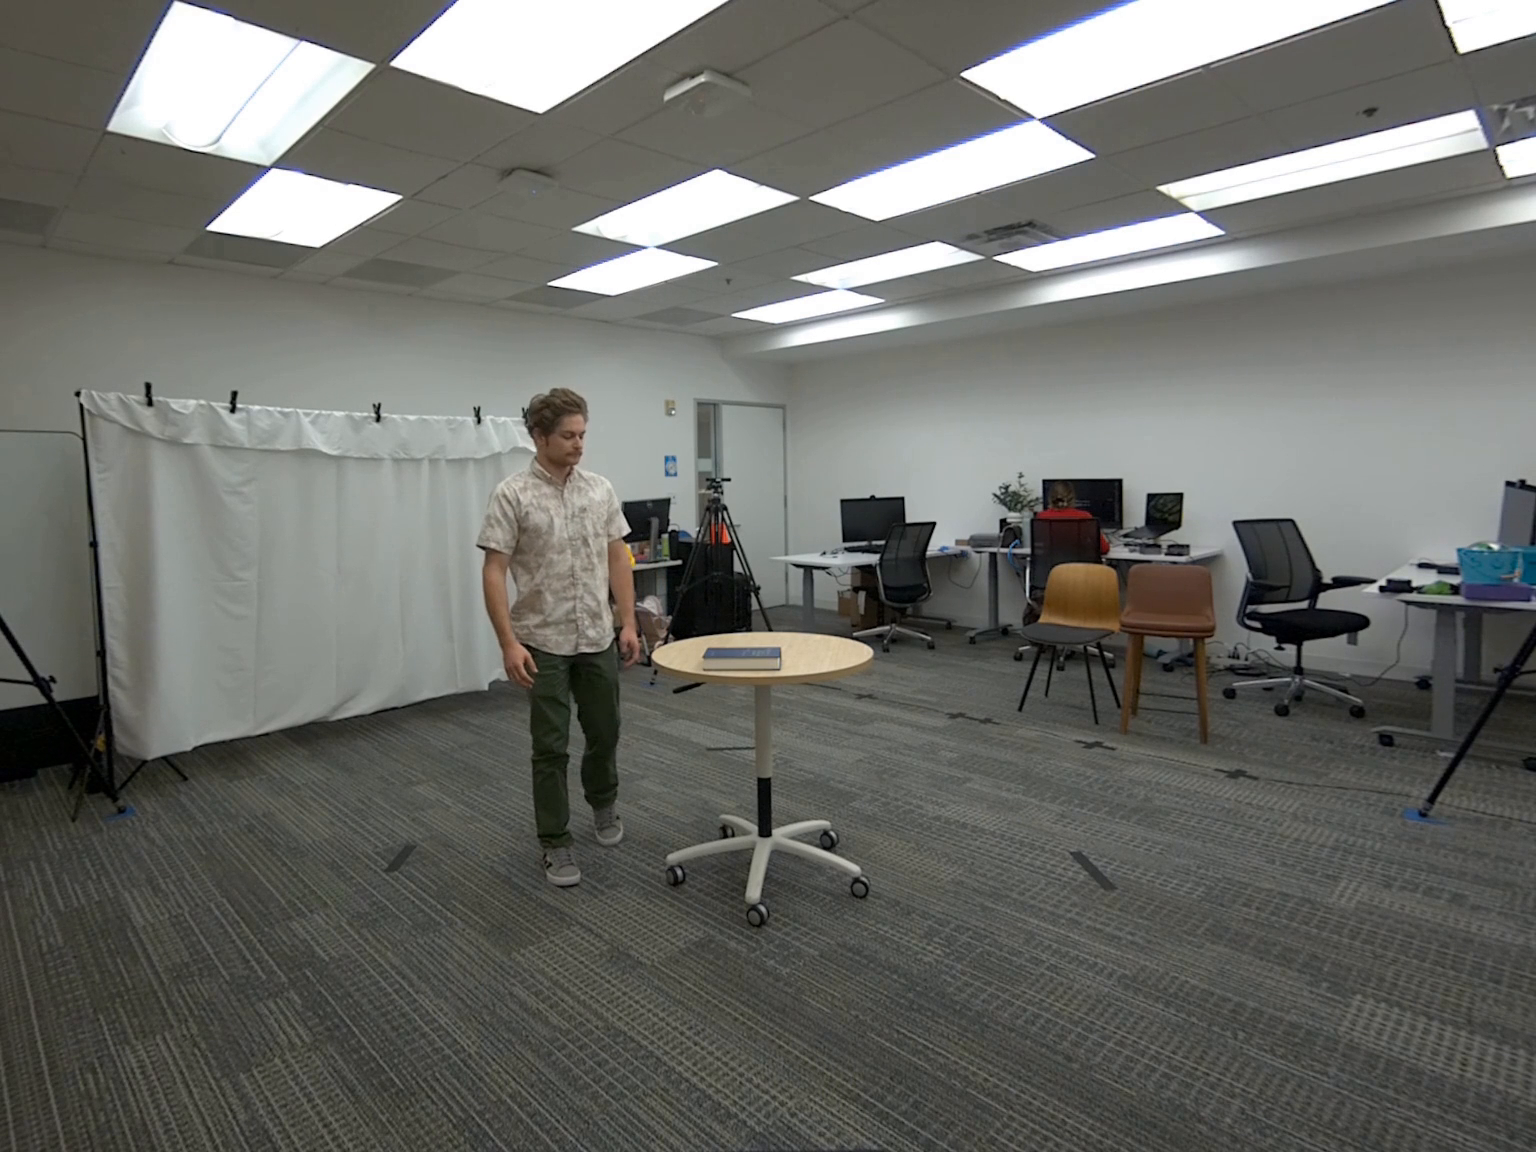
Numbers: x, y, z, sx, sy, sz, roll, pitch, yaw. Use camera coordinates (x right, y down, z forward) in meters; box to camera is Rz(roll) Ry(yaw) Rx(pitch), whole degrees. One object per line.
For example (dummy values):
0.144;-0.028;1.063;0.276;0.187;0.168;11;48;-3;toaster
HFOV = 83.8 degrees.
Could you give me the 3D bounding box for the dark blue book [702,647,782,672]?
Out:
-0.082;0.264;2.751;0.246;0.045;0.163;0;6;5;dark blue book
